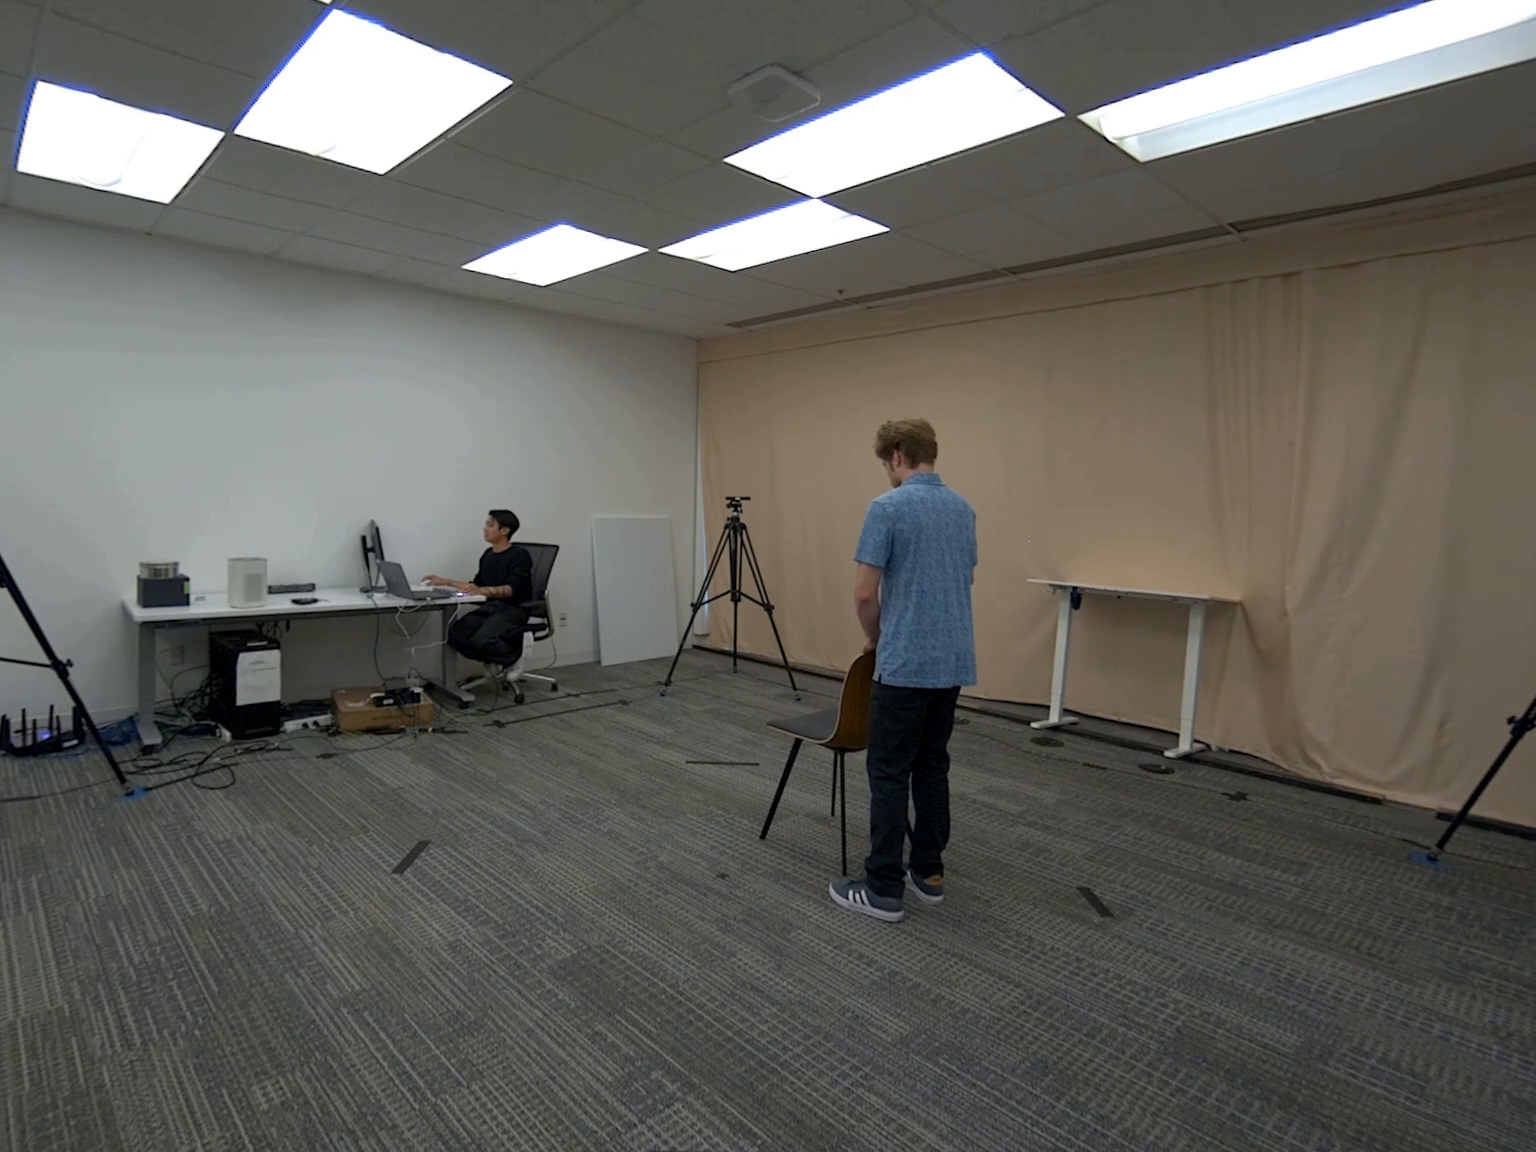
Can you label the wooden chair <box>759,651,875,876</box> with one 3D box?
[{"bbox_3d":[0.279,0.660,3.409,0.467,0.873,0.537,-1,9,-43],"label":"wooden chair"}]
